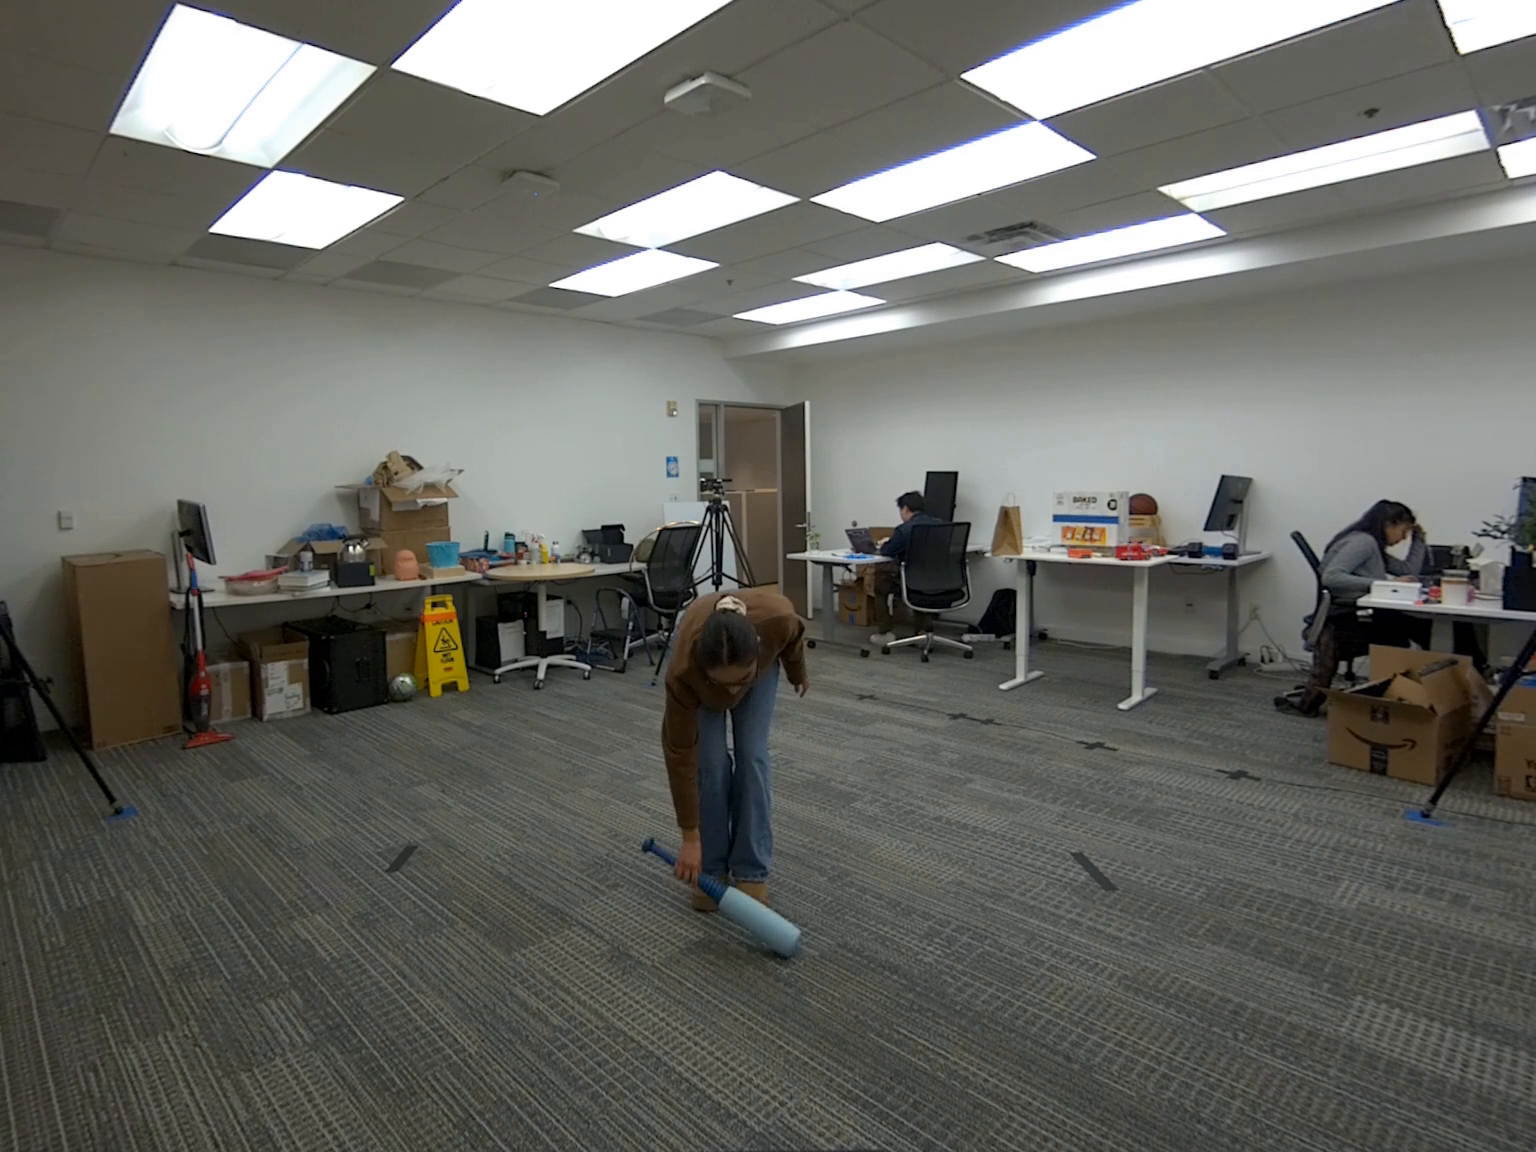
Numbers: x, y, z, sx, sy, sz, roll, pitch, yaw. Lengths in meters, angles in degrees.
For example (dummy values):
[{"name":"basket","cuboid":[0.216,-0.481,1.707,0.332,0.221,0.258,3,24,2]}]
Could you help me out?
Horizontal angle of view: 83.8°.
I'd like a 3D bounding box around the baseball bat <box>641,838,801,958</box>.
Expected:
[{"name":"baseball bat","cuboid":[-0.150,0.958,2.575,0.555,0.088,0.087,27,13,17]}]
